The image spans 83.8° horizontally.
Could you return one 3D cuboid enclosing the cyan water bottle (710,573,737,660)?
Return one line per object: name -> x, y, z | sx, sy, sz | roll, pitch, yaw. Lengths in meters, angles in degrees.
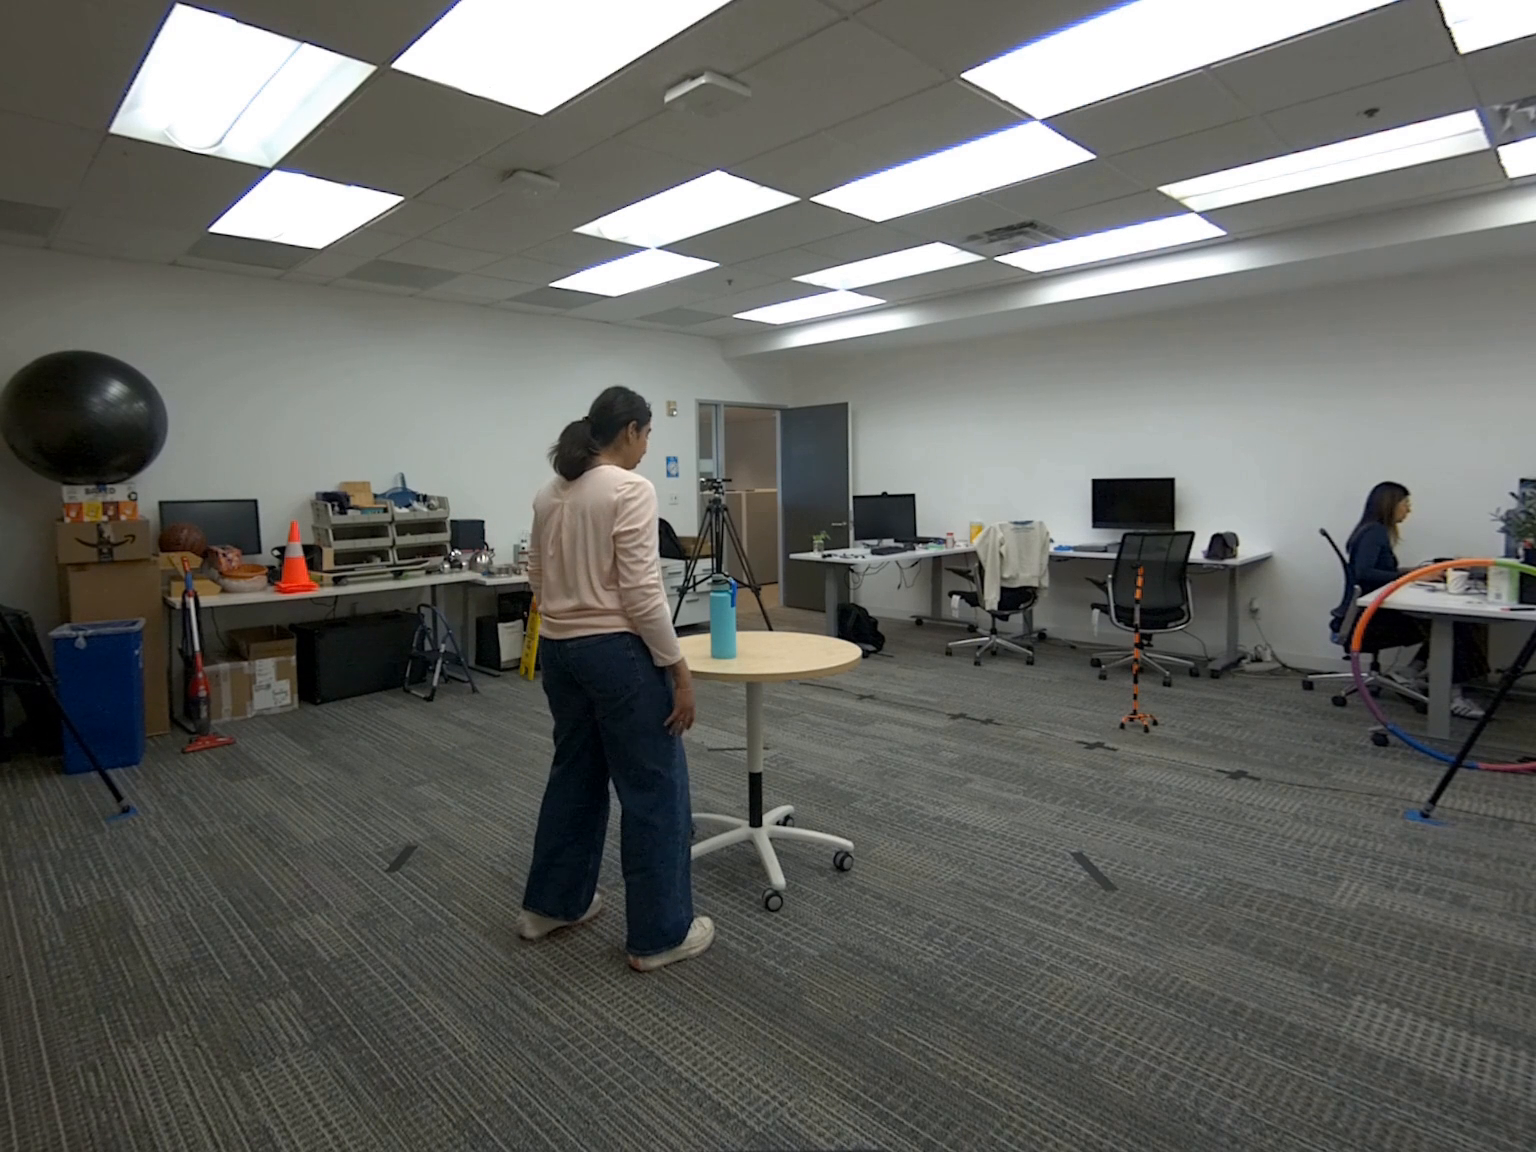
cyan water bottle -> -0.150, 0.138, 2.945 | 0.092, 0.282, 0.093 | -1, 4, -2
